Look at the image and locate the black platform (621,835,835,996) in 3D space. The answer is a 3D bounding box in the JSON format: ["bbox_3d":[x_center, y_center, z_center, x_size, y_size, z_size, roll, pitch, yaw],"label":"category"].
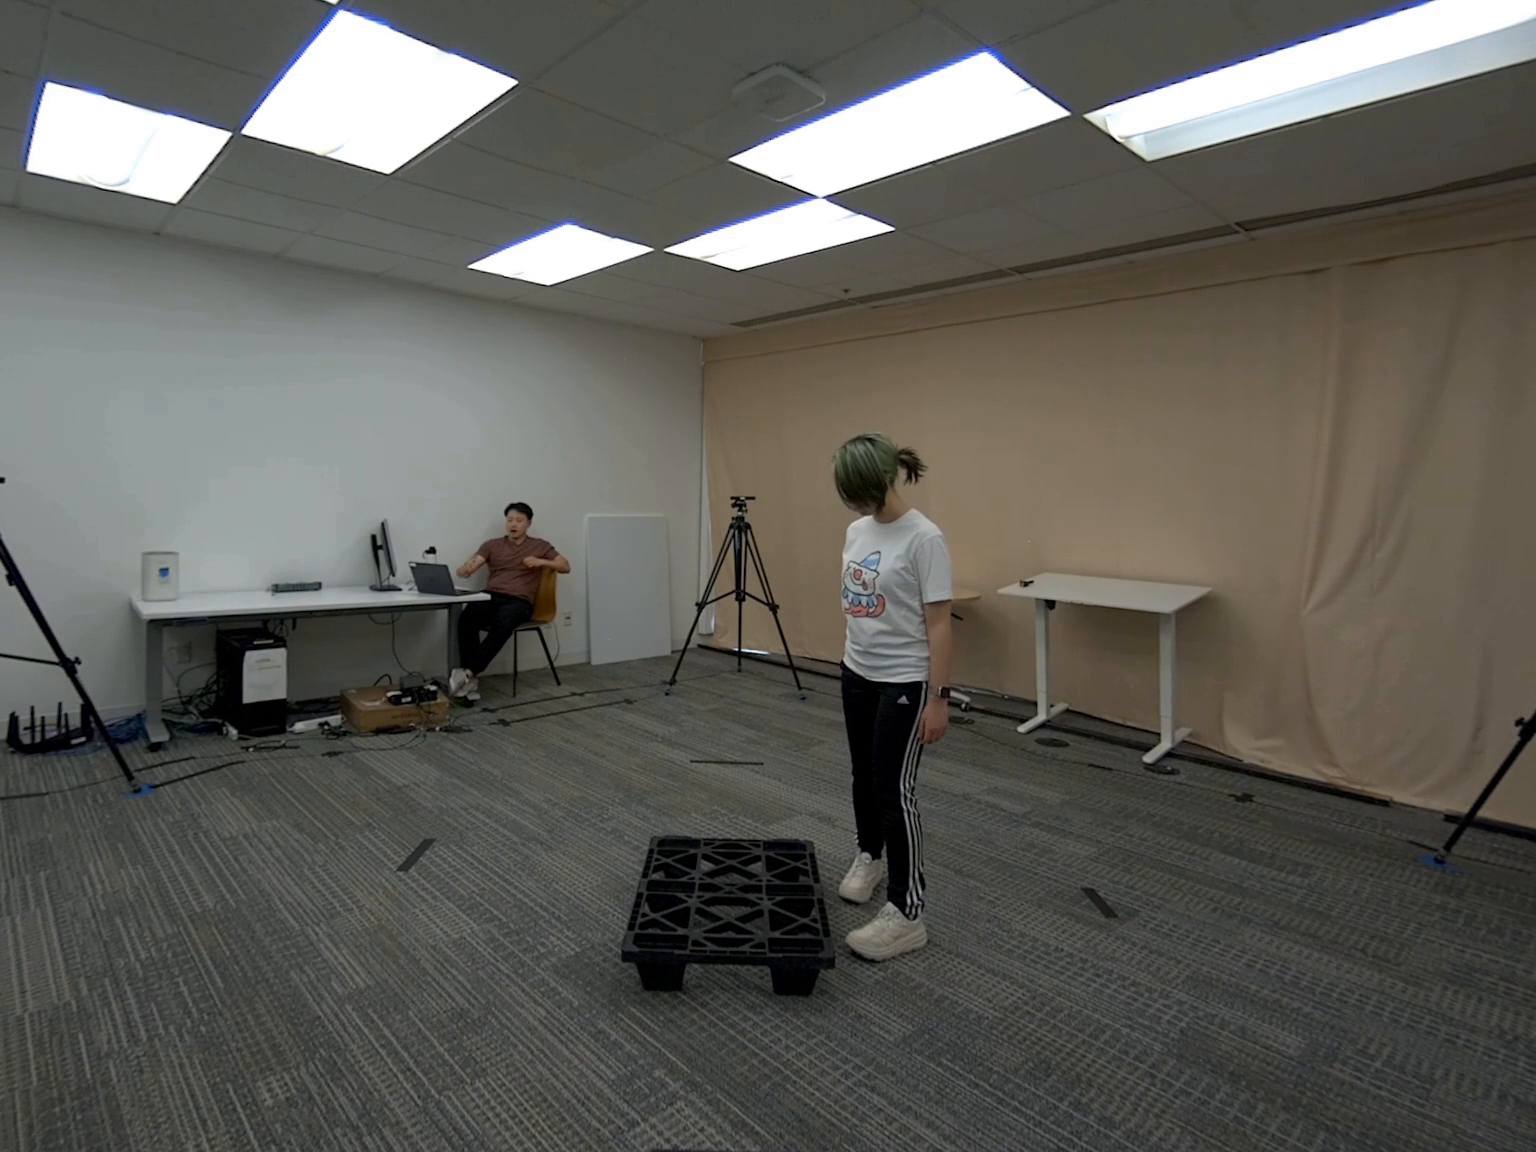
[{"bbox_3d":[-0.128,1.071,2.721,0.605,0.143,0.808,2,6,-1],"label":"black platform"}]
